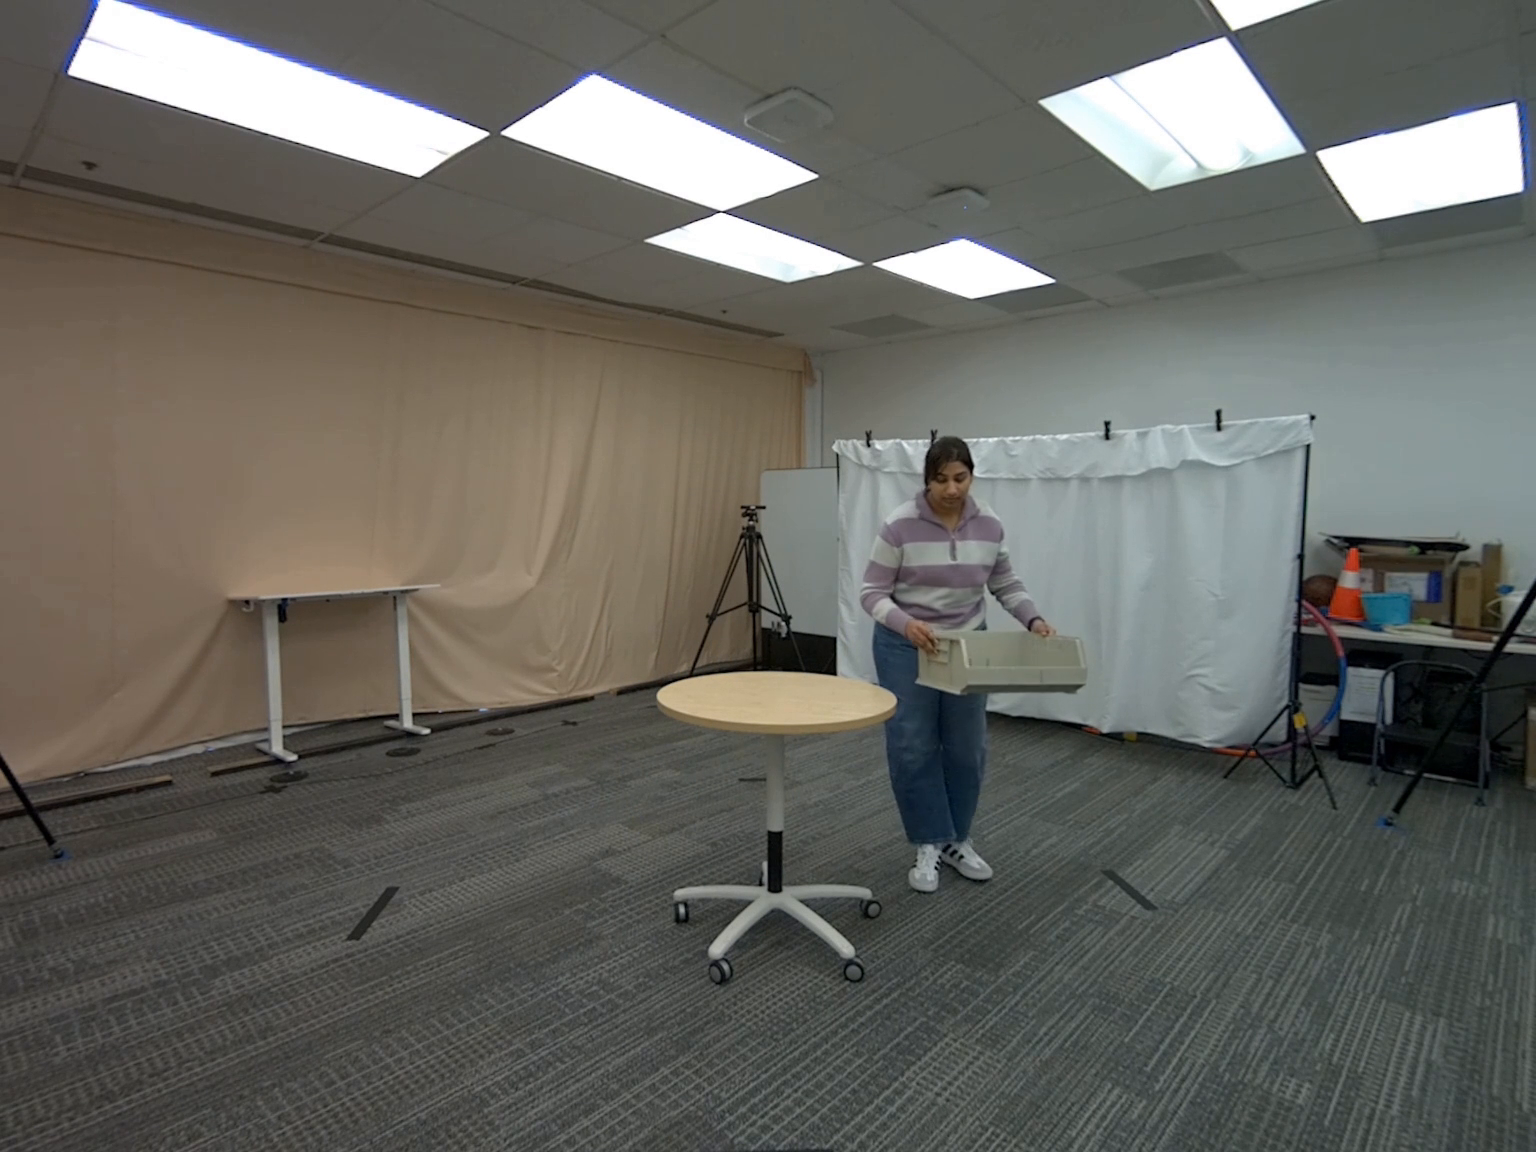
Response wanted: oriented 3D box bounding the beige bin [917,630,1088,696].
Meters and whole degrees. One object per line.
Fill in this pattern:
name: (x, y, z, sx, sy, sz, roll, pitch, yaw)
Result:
beige bin: (0.749, 0.287, 2.770, 0.417, 0.189, 0.382, 0, -1, -13)
